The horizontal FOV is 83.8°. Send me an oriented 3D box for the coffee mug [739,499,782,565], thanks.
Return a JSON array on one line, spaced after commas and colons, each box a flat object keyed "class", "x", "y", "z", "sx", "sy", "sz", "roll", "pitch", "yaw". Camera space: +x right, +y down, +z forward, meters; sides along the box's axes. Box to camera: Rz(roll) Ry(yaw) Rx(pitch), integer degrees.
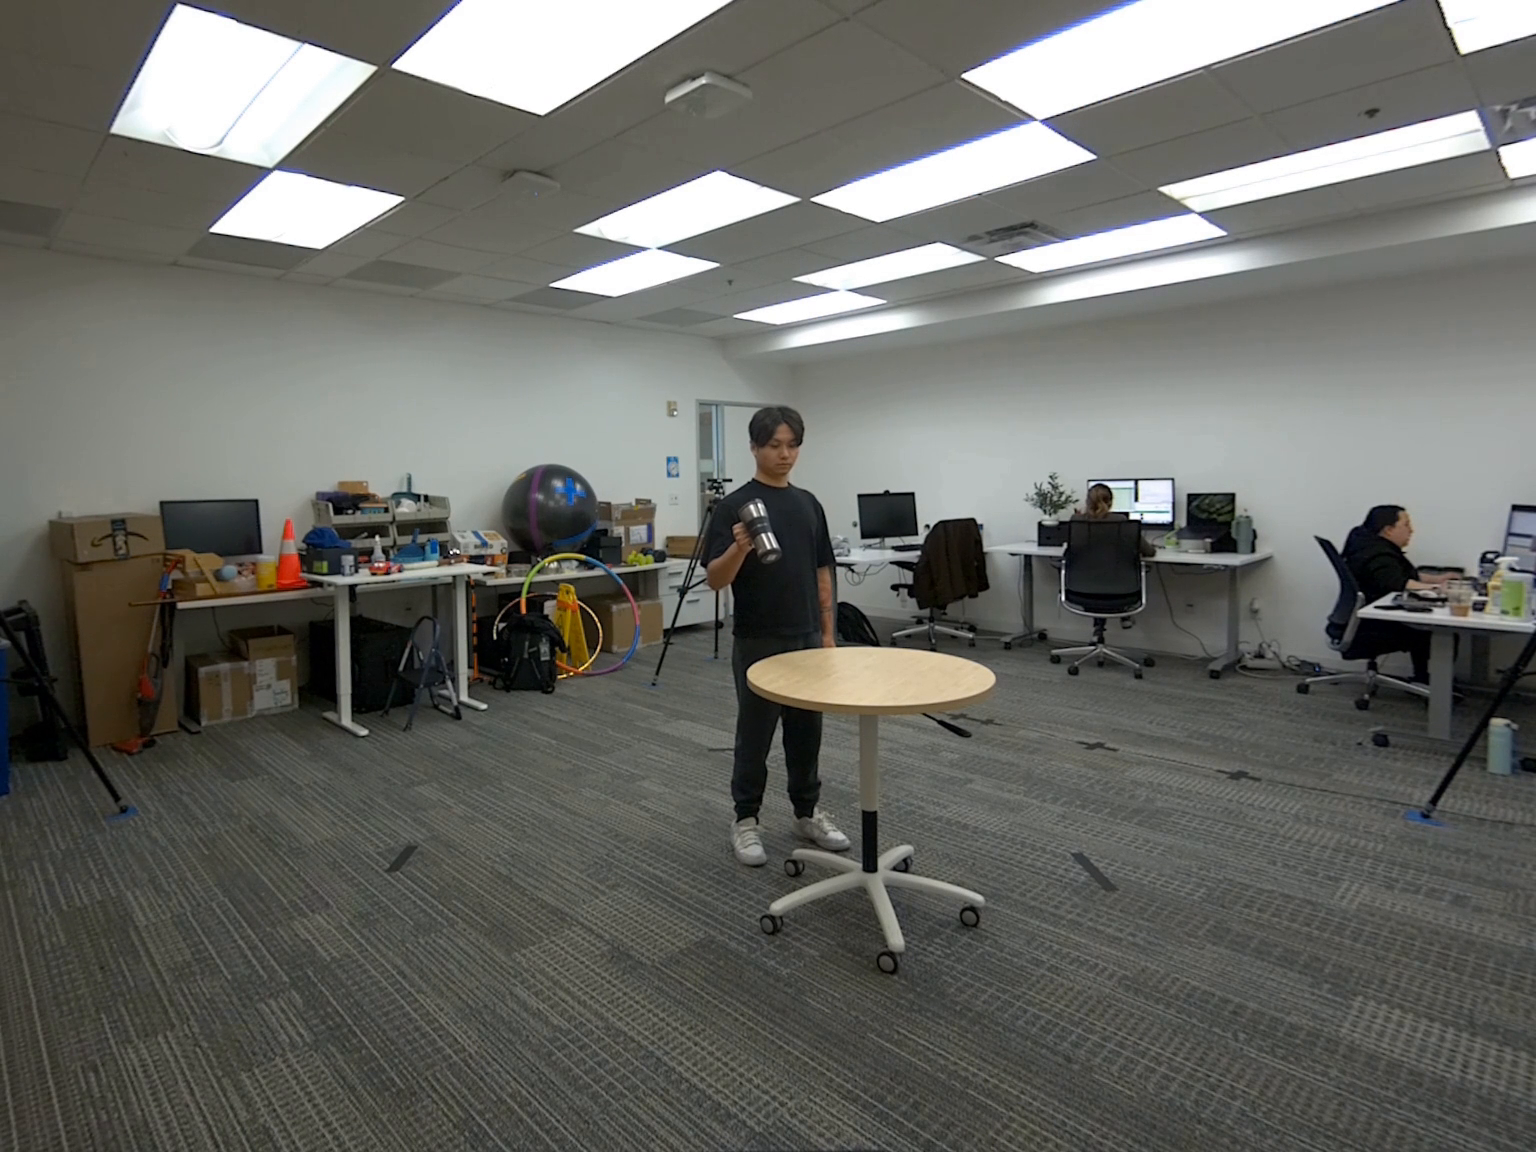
[{"class": "coffee mug", "x": -0.010, "y": -0.141, "z": 2.703, "sx": 0.119, "sy": 0.209, "sz": 0.087, "roll": -5, "pitch": -33, "yaw": -29}]
